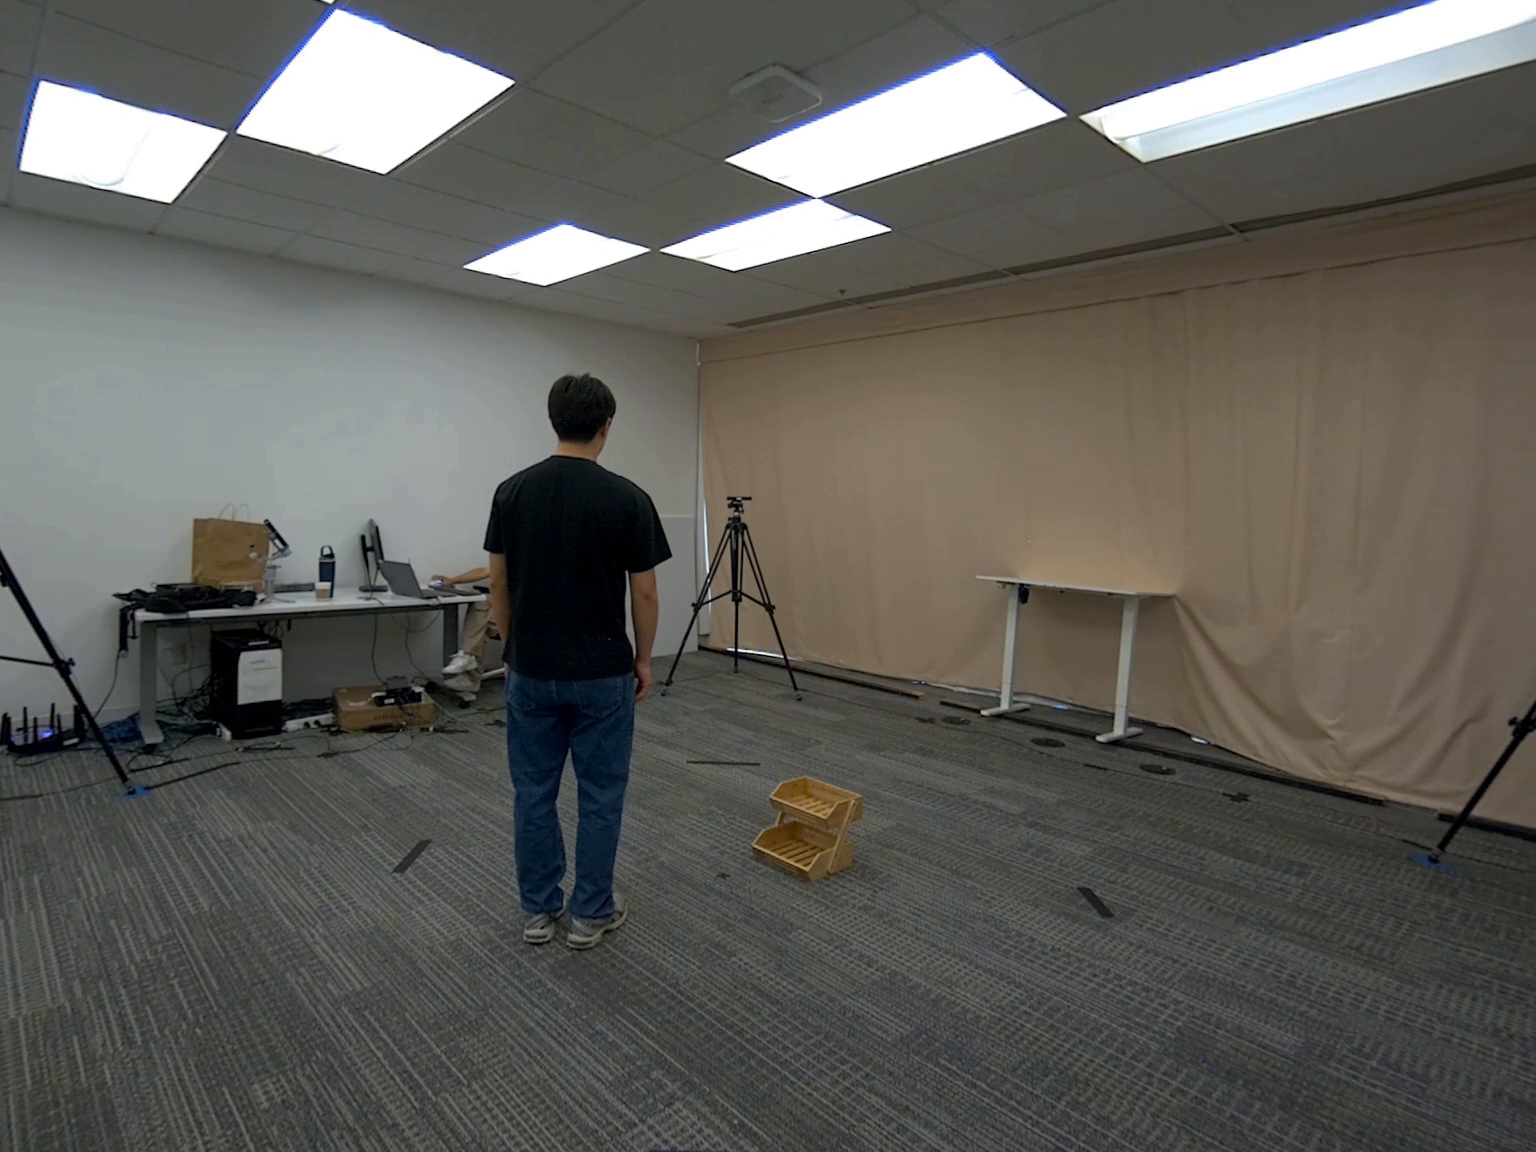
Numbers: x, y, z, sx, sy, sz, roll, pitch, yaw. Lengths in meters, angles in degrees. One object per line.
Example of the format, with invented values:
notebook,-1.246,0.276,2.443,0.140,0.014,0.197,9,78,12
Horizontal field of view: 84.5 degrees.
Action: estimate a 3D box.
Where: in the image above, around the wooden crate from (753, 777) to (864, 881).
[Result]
wooden crate,0.145,0.965,3.259,0.295,0.273,0.333,-1,5,-43
